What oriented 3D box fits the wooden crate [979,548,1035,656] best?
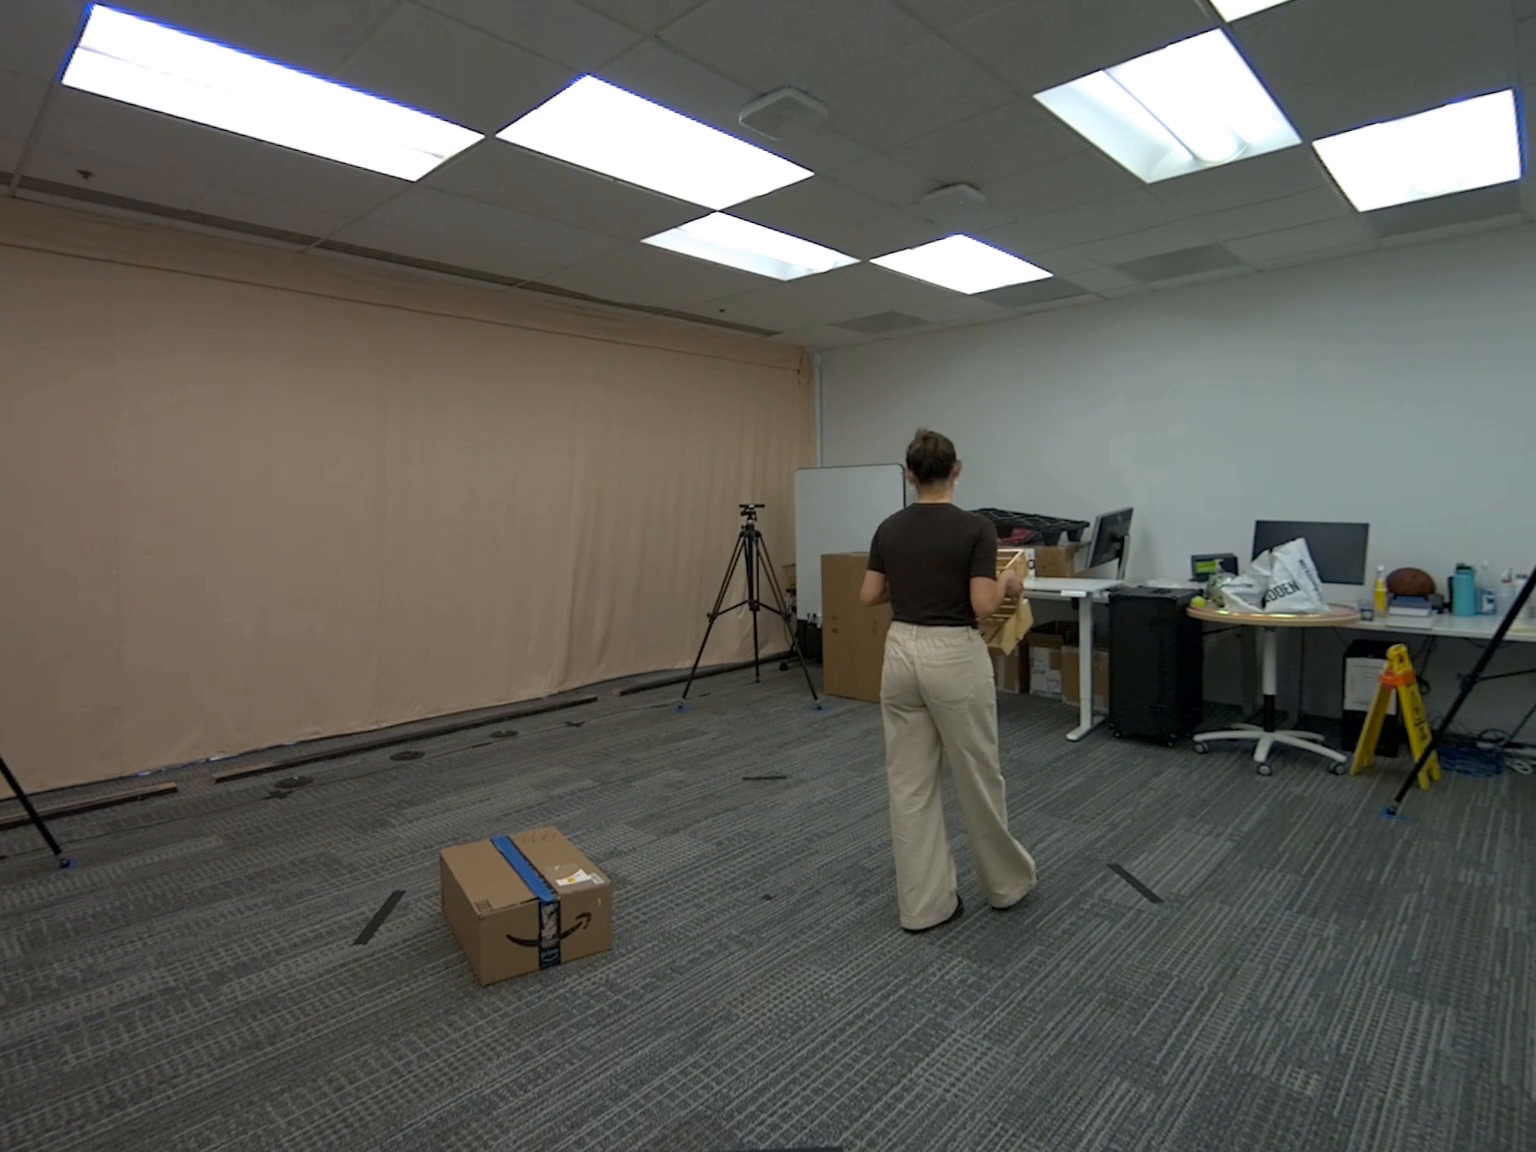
[{"bbox_3d":[0.734,0.086,2.958,0.335,0.269,0.297,0,26,41],"label":"wooden crate"}]
